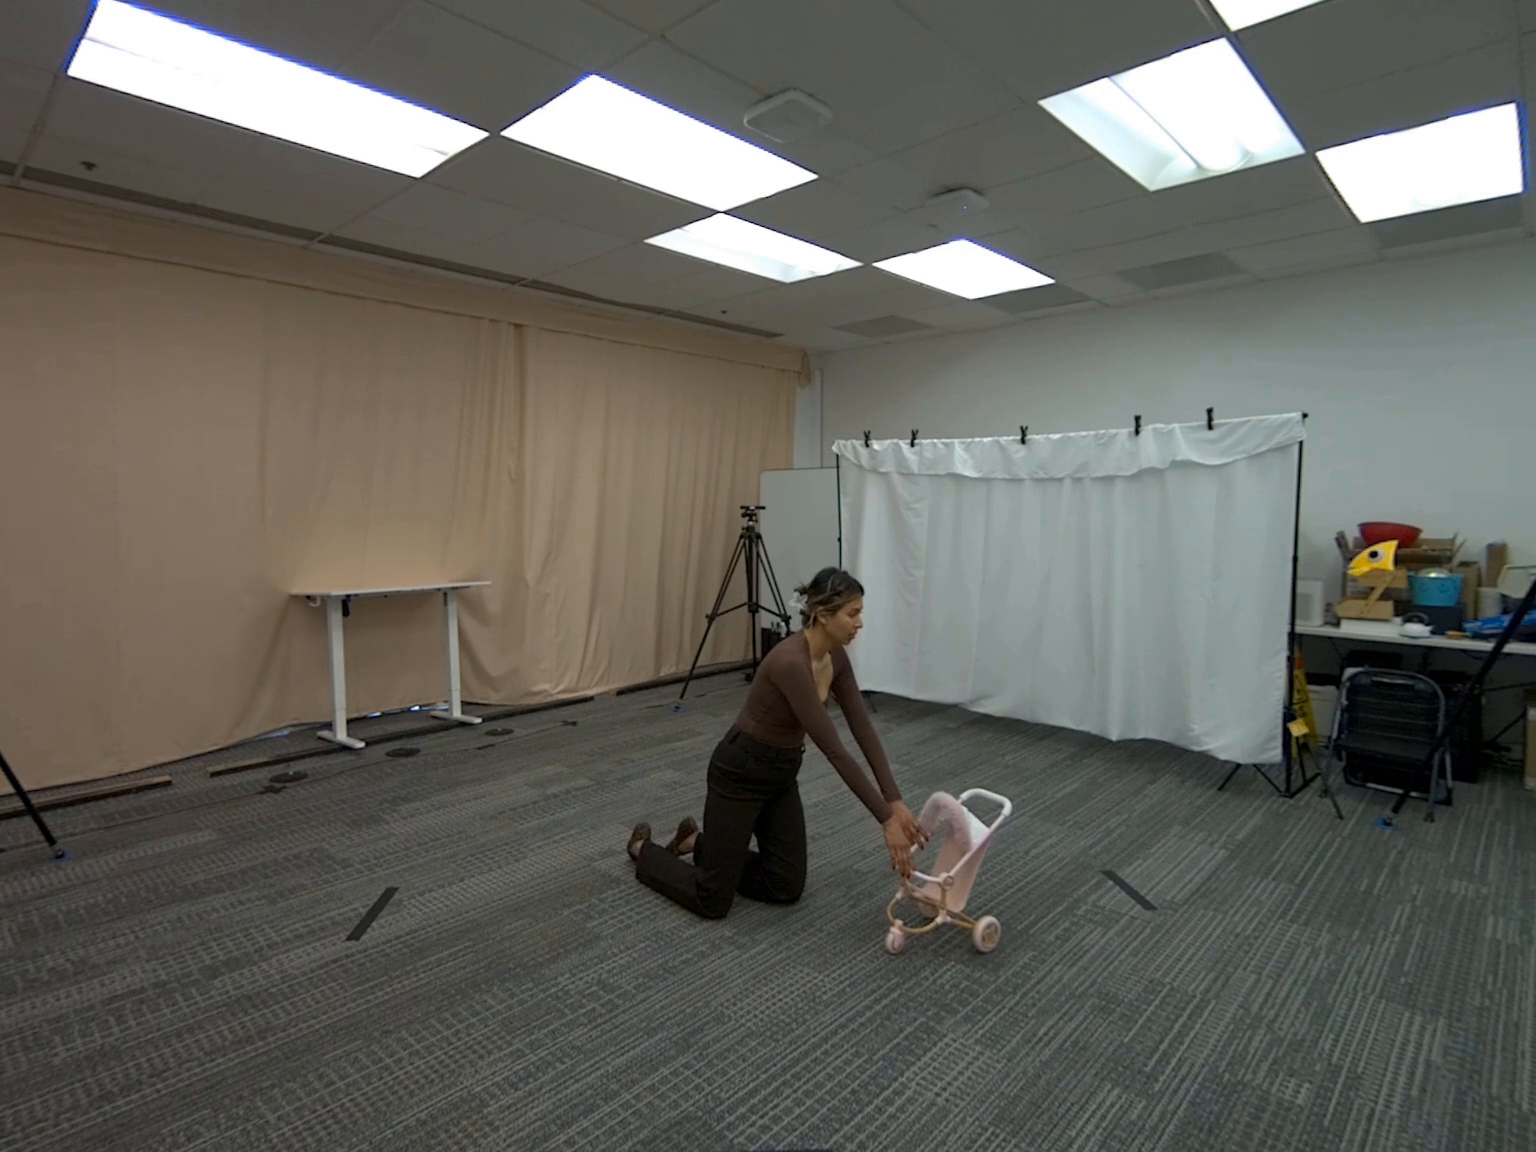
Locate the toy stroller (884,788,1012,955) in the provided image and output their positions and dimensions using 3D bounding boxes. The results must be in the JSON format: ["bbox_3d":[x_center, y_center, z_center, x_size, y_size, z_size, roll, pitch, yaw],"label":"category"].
[{"bbox_3d":[0.550,0.934,2.702,0.332,0.536,0.289,15,-5,-25],"label":"toy stroller"}]
